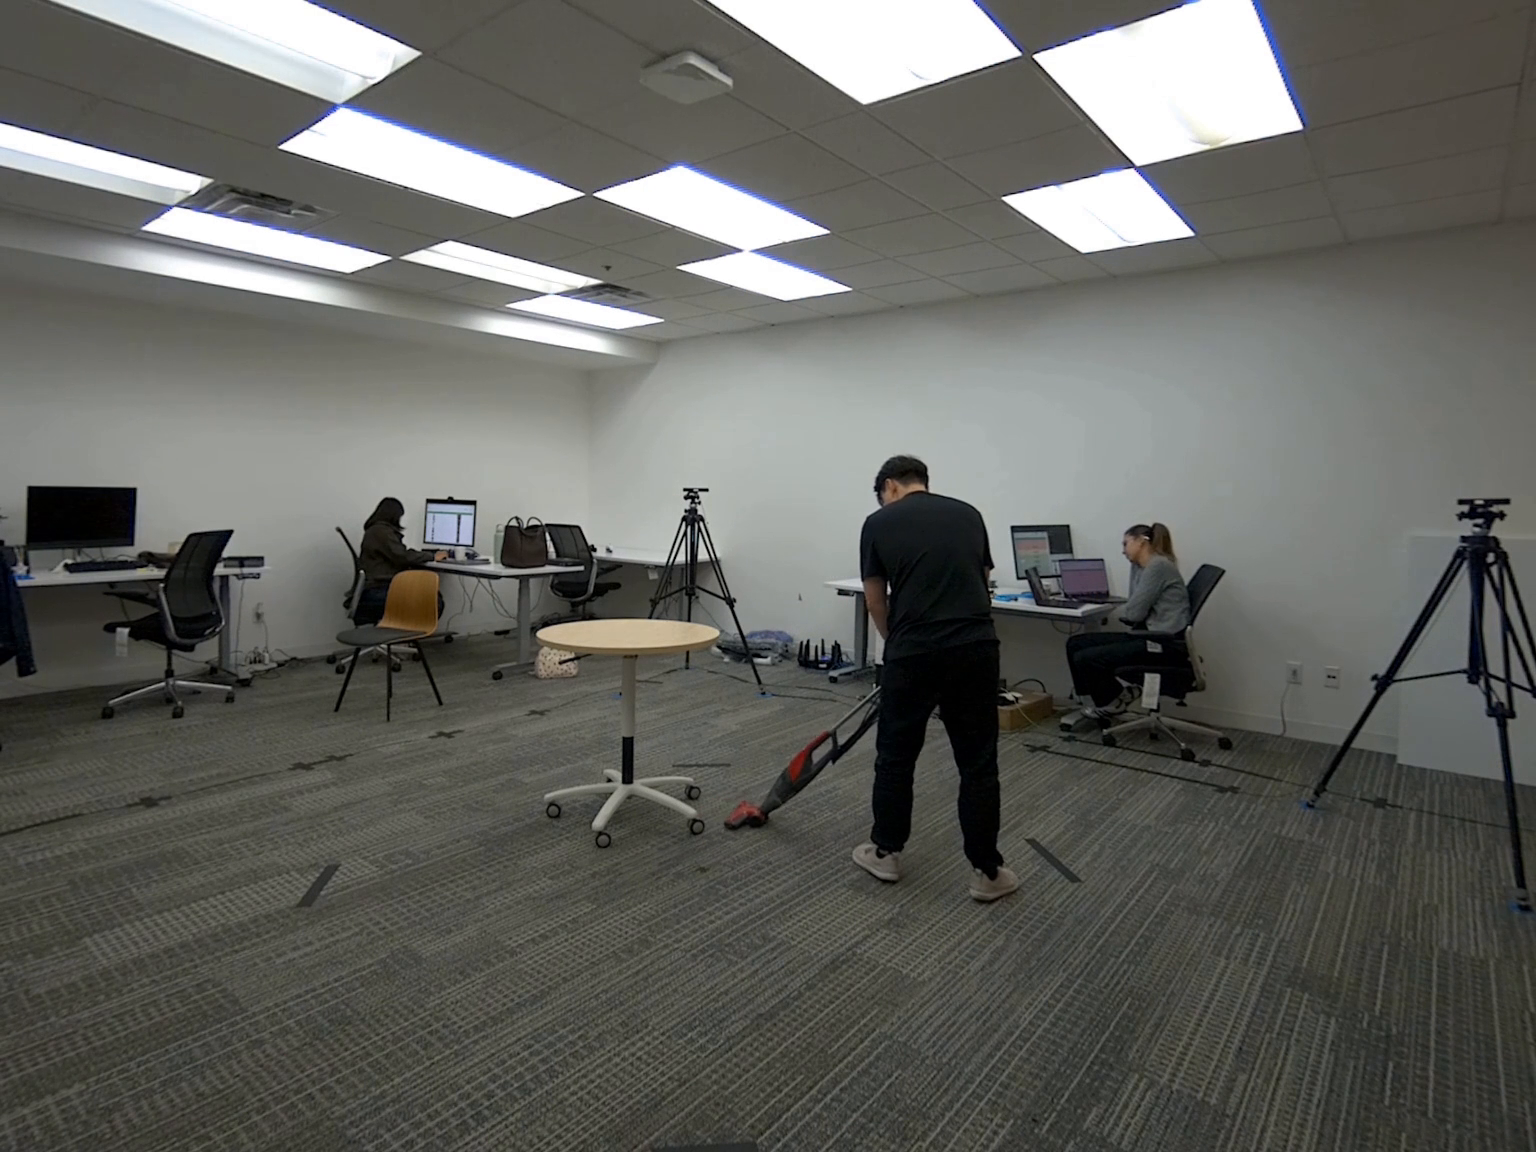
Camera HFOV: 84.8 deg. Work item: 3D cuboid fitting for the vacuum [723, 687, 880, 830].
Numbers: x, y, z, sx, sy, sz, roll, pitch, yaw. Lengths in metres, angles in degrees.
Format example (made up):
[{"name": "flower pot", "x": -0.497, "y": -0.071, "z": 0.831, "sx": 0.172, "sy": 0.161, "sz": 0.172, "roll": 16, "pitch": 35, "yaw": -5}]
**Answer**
[{"name": "vacuum", "x": 0.260, "y": 0.663, "z": 3.437, "sx": 1.051, "sy": 0.146, "sz": 0.249, "roll": -44, "pitch": -7, "yaw": 16}]
